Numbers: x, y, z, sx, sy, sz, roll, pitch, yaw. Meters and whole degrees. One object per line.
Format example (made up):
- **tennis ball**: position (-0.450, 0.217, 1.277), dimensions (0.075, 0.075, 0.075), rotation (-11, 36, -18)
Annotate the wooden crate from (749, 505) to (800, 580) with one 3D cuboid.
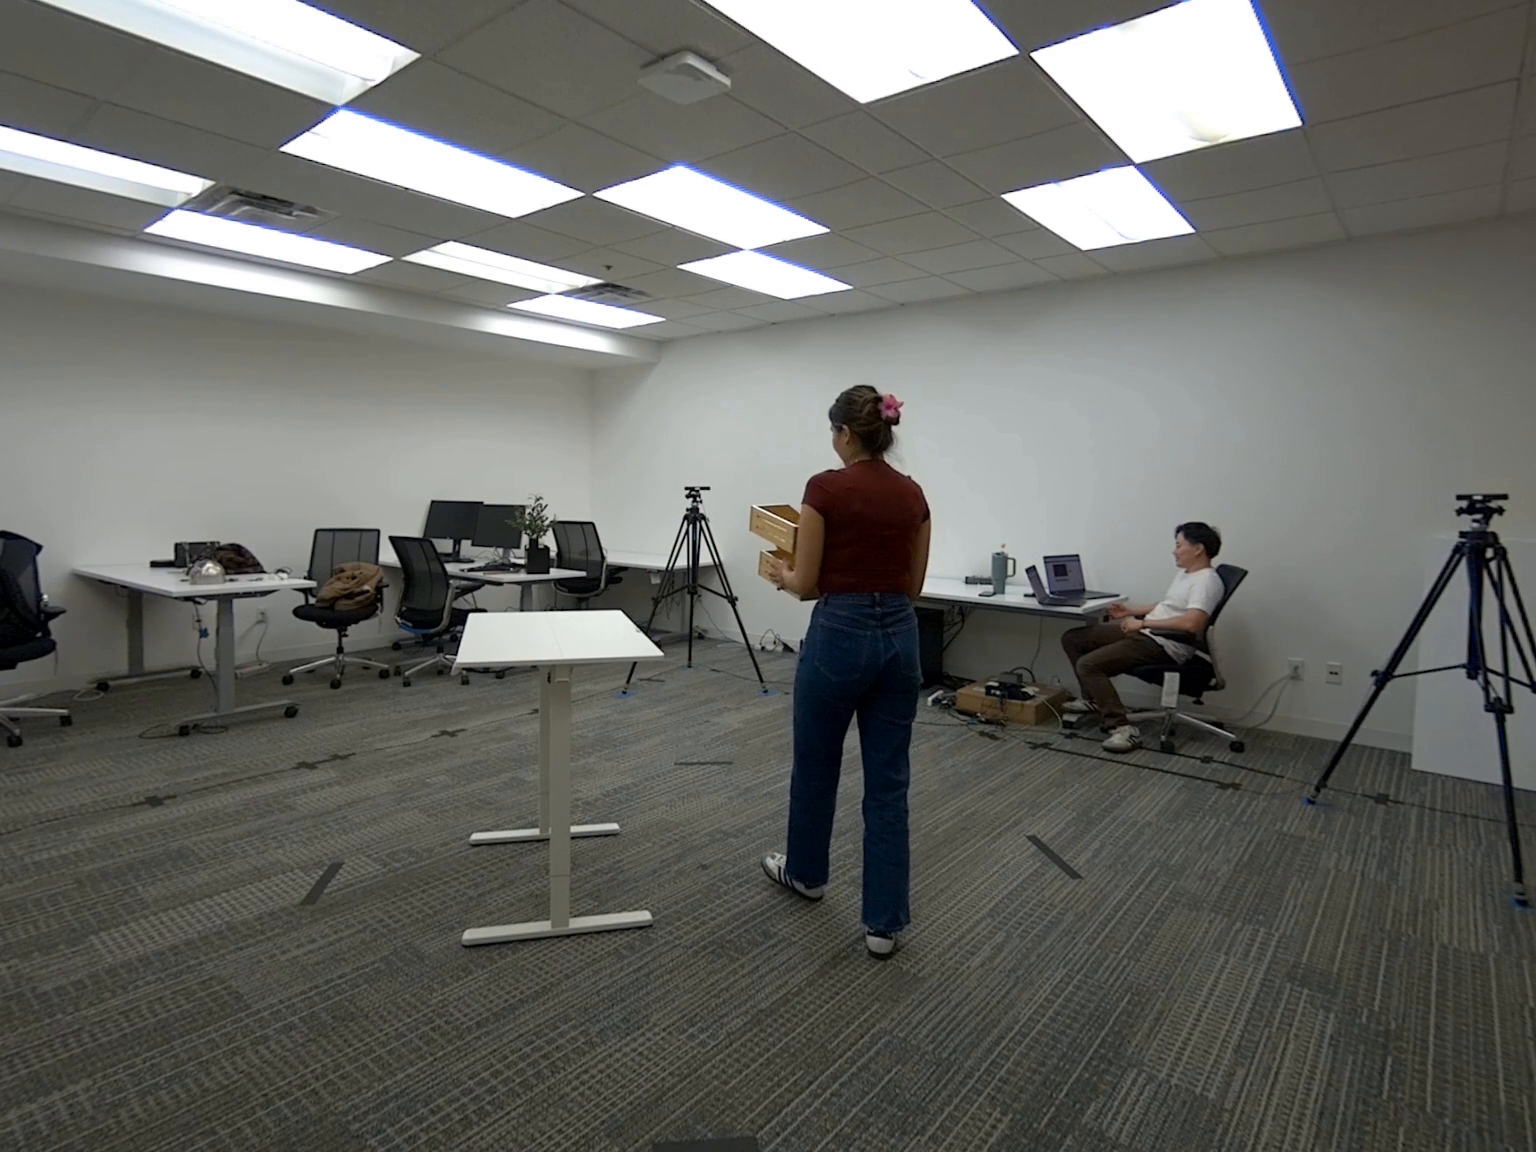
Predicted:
- **wooden crate**: position (0.139, -0.101, 2.959), dimensions (0.295, 0.270, 0.337), rotation (-3, 18, -27)
